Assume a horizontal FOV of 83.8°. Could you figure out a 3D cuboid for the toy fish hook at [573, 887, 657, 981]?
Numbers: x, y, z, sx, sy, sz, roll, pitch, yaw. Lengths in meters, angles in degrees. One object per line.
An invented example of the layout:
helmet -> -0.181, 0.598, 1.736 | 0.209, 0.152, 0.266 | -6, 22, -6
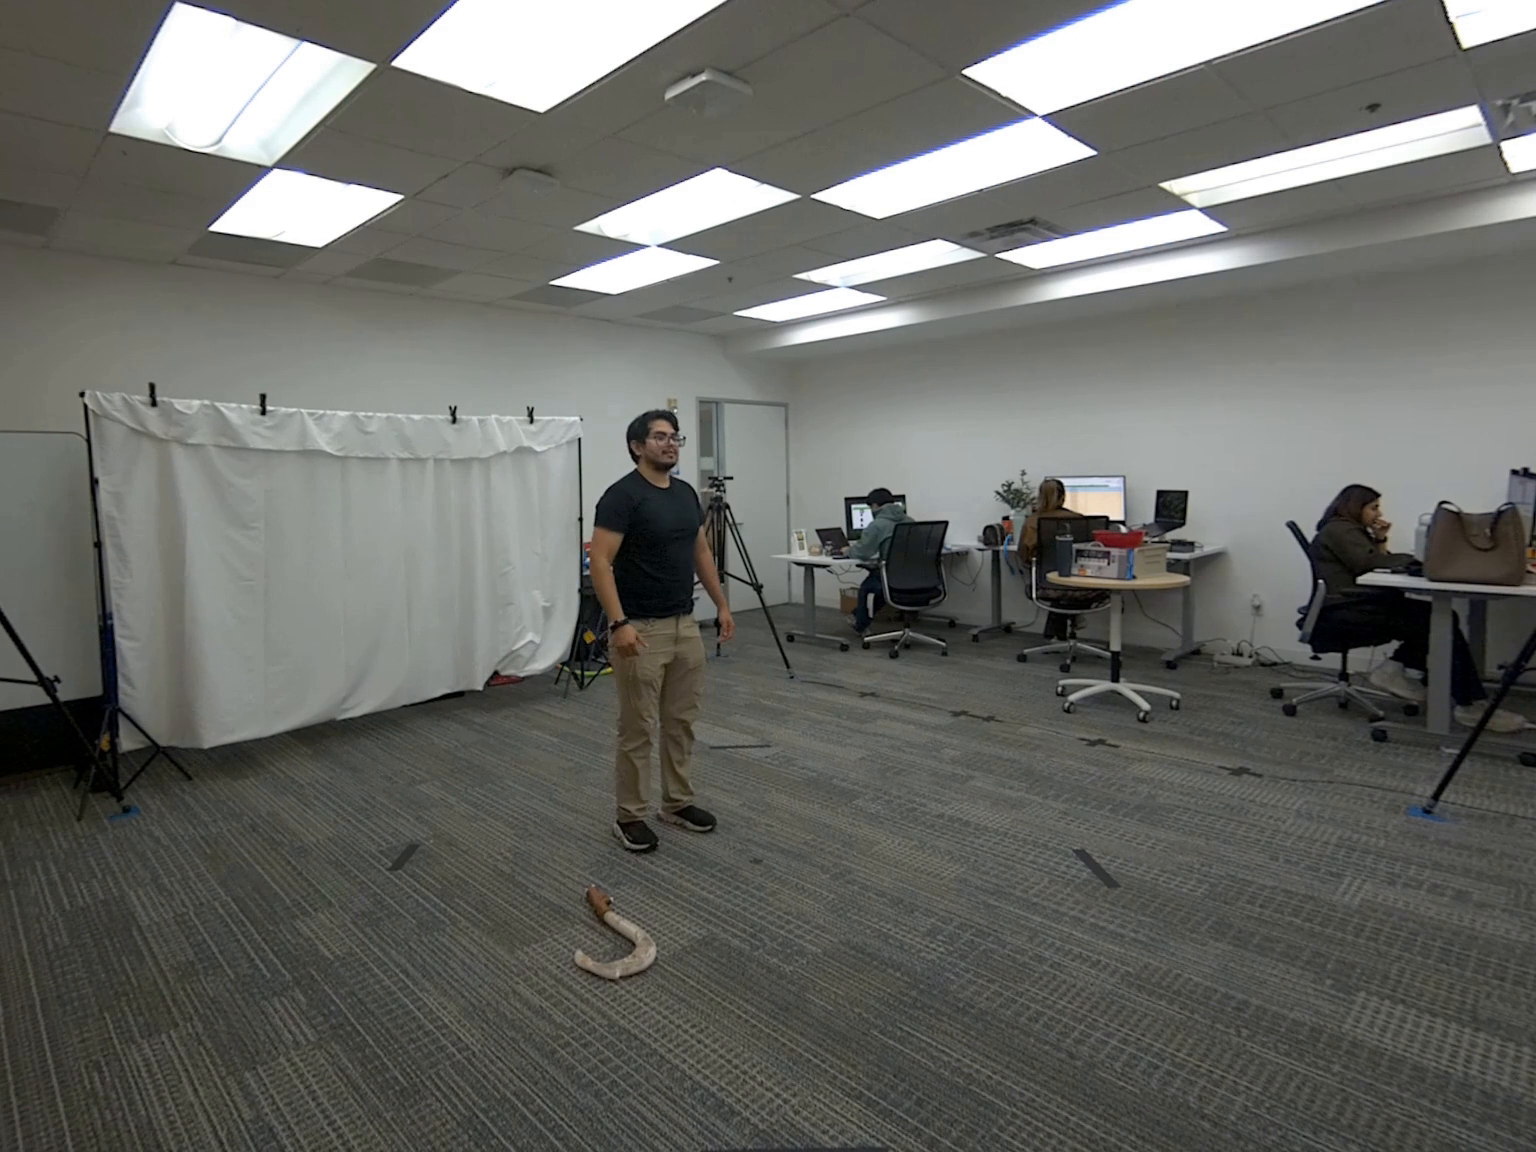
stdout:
toy fish hook -> -0.514, 1.091, 2.619 | 0.219, 0.048, 0.520 | -5, 7, -29
